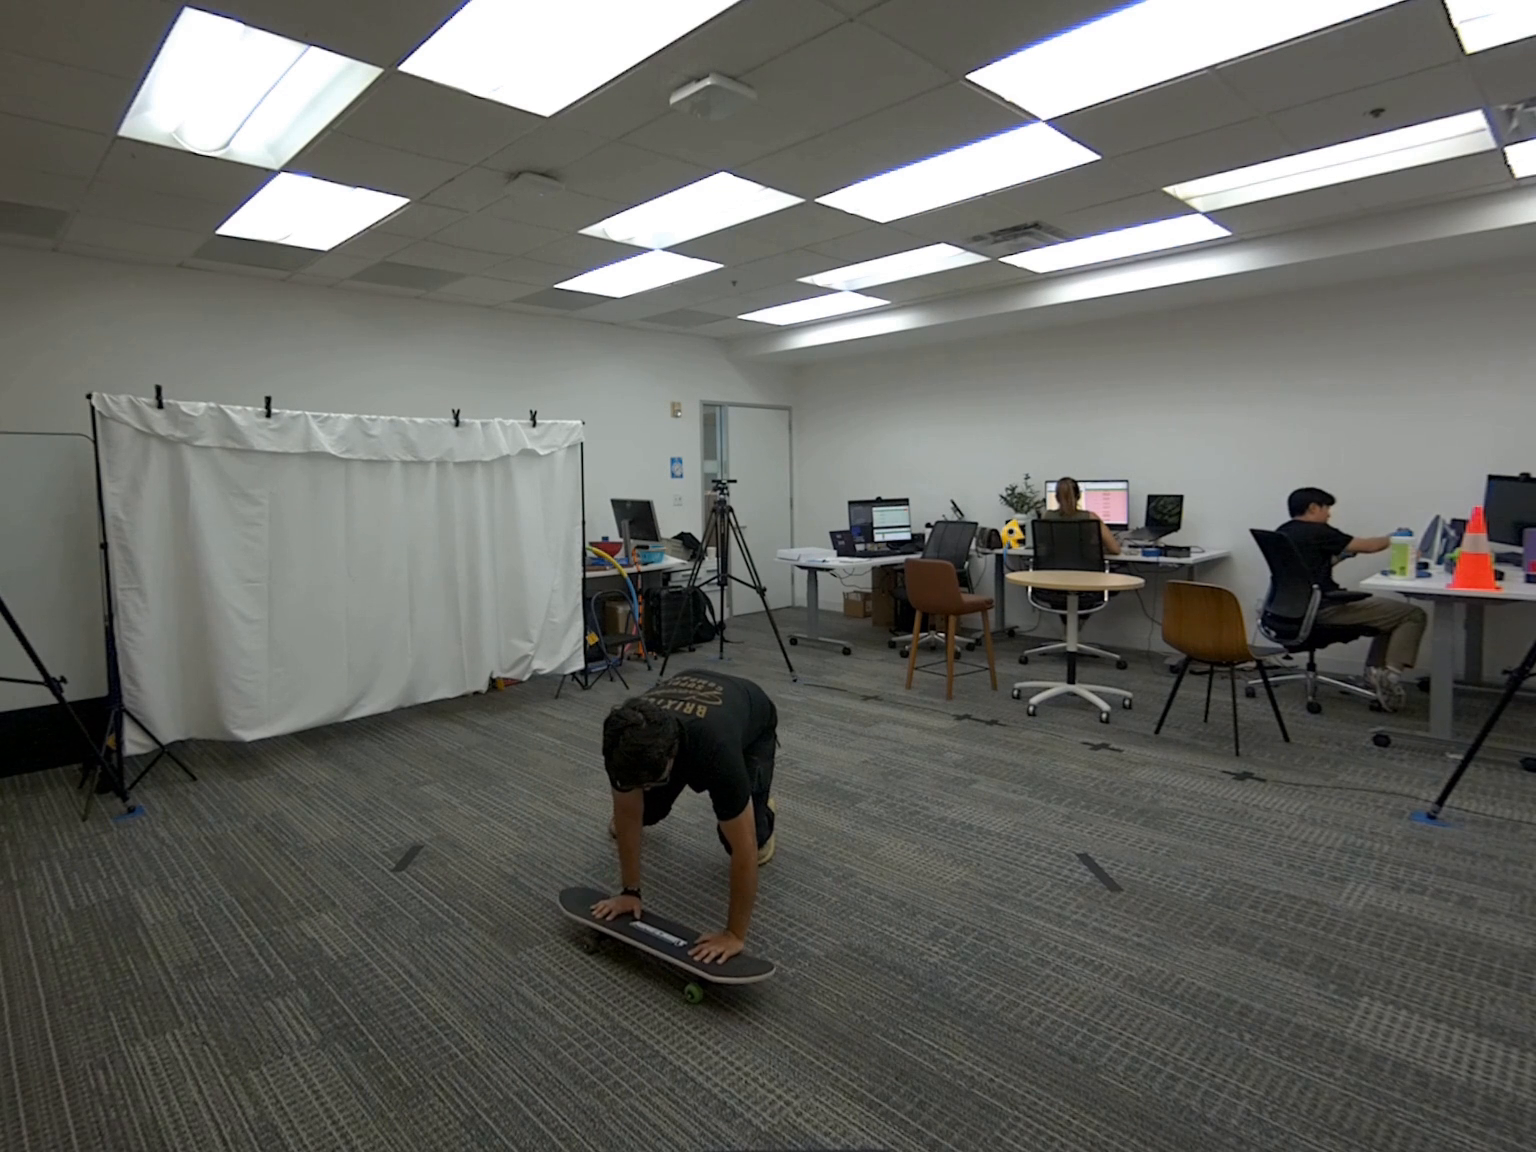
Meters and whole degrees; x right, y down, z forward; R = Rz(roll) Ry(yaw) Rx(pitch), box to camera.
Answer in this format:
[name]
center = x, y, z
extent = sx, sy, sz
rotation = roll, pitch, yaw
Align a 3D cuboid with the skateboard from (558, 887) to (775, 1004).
[skateboard]
center = -0.316, 1.070, 2.482
extent = 0.809, 0.110, 0.187
rotation = 4, -1, 37
